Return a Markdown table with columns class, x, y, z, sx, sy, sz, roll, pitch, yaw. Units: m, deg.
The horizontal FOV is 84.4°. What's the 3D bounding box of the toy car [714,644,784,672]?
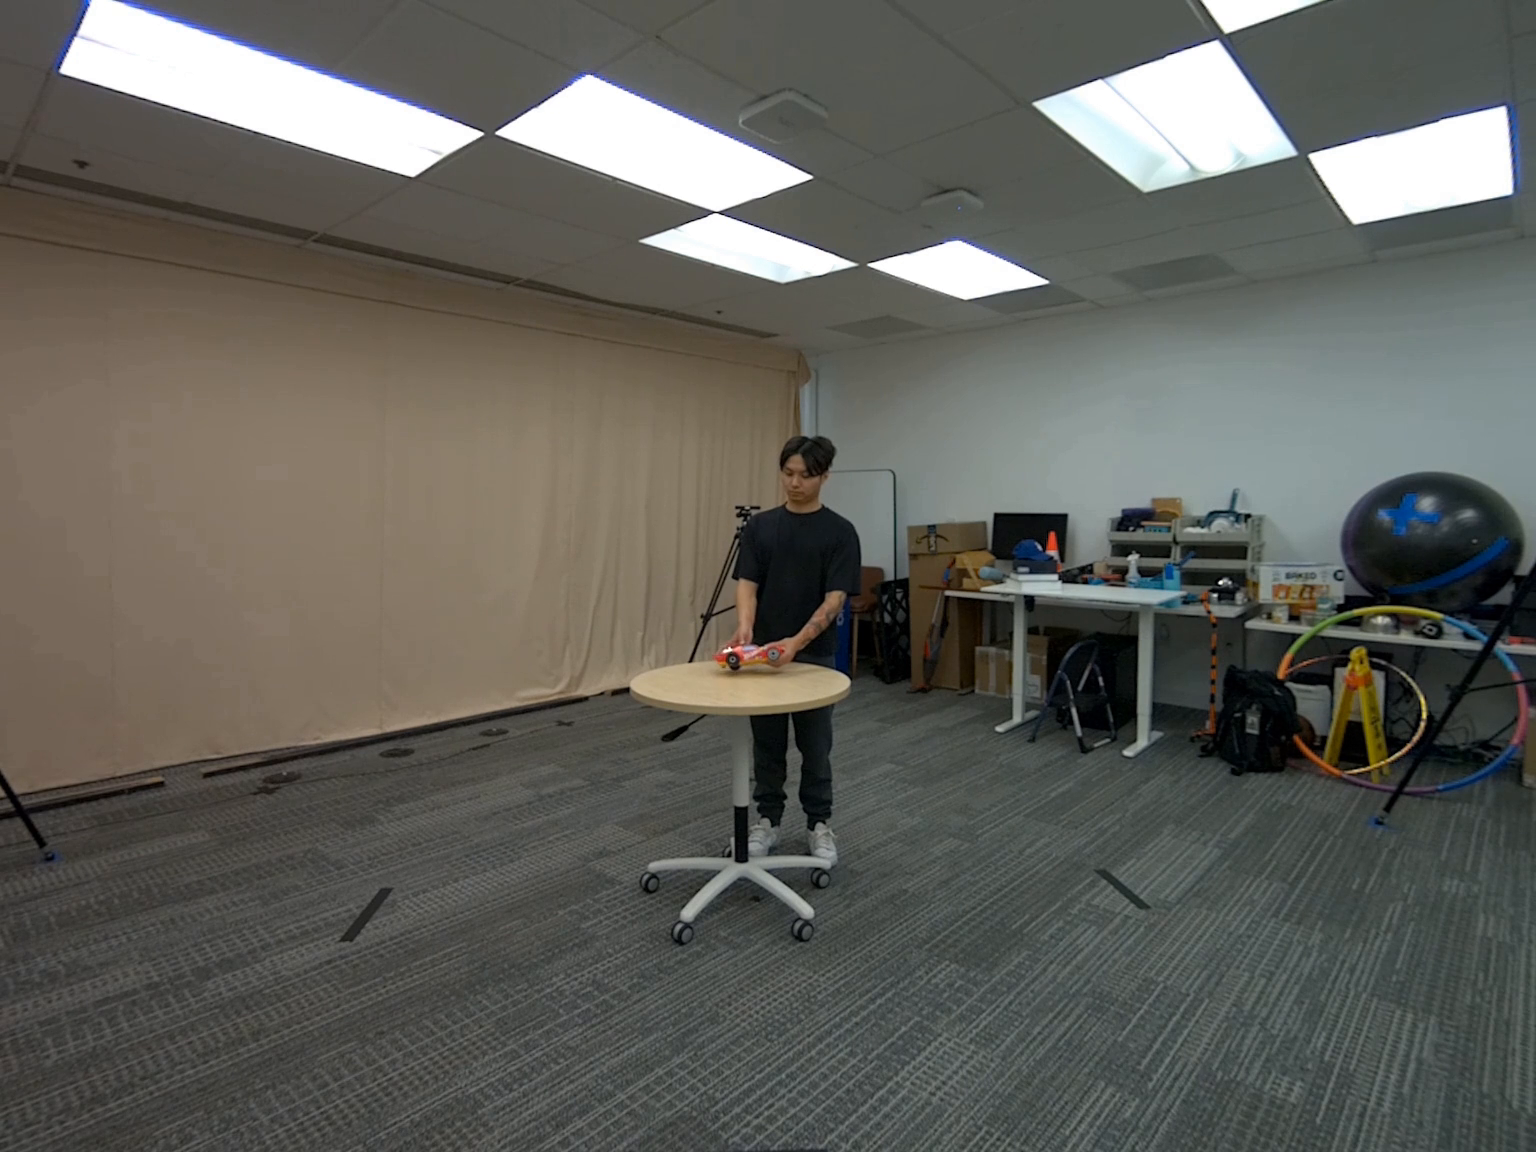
| class | x | y | z | sx | sy | sz | roll | pitch | yaw |
| --- | --- | --- | --- | --- | --- | --- | --- | --- | --- |
| toy car | -0.076 | 0.294 | 3.042 | 0.256 | 0.084 | 0.128 | 2 | -15 | 7 |
